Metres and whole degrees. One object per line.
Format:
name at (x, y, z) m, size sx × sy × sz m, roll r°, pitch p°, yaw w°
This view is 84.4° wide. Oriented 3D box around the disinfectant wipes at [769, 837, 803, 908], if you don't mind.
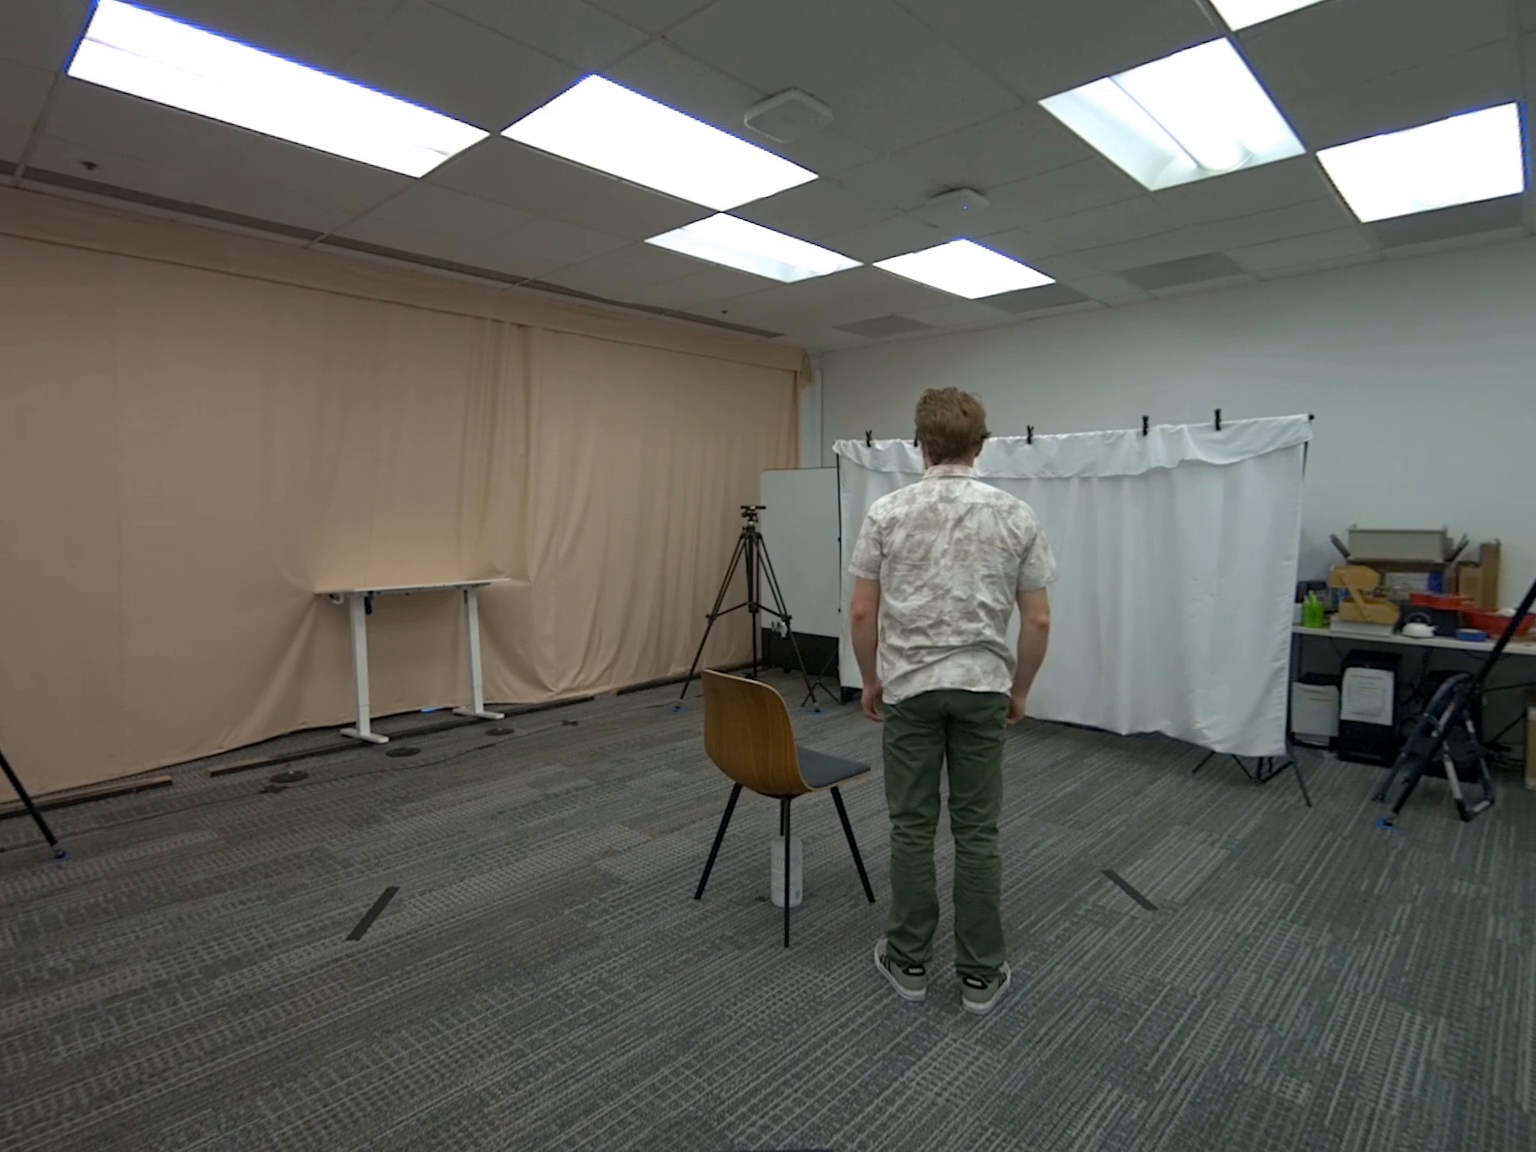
disinfectant wipes at (0.072, 1.052, 2.949) m, size 0.118 × 0.217 × 0.118 m, roll -4°, pitch 4°, yaw -2°
